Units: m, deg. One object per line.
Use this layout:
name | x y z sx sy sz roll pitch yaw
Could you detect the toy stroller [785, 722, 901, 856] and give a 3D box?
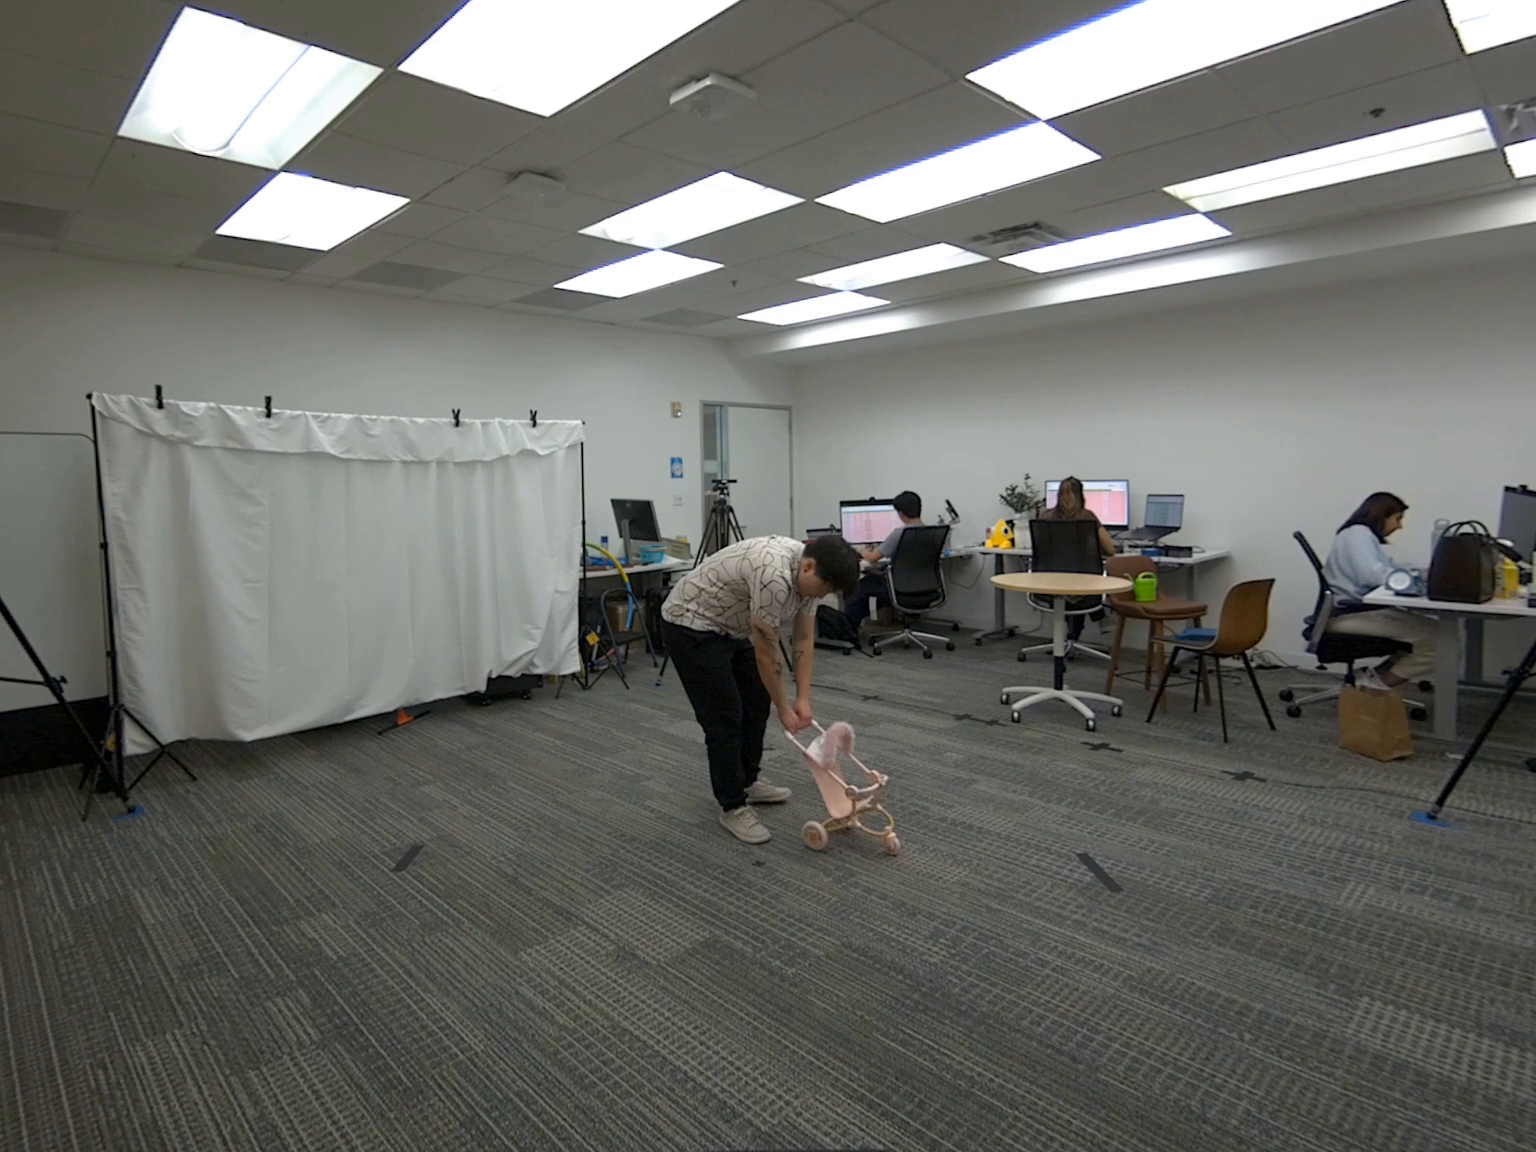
toy stroller | 0.291 0.796 3.266 0.348 0.538 0.274 -18 -7 39
